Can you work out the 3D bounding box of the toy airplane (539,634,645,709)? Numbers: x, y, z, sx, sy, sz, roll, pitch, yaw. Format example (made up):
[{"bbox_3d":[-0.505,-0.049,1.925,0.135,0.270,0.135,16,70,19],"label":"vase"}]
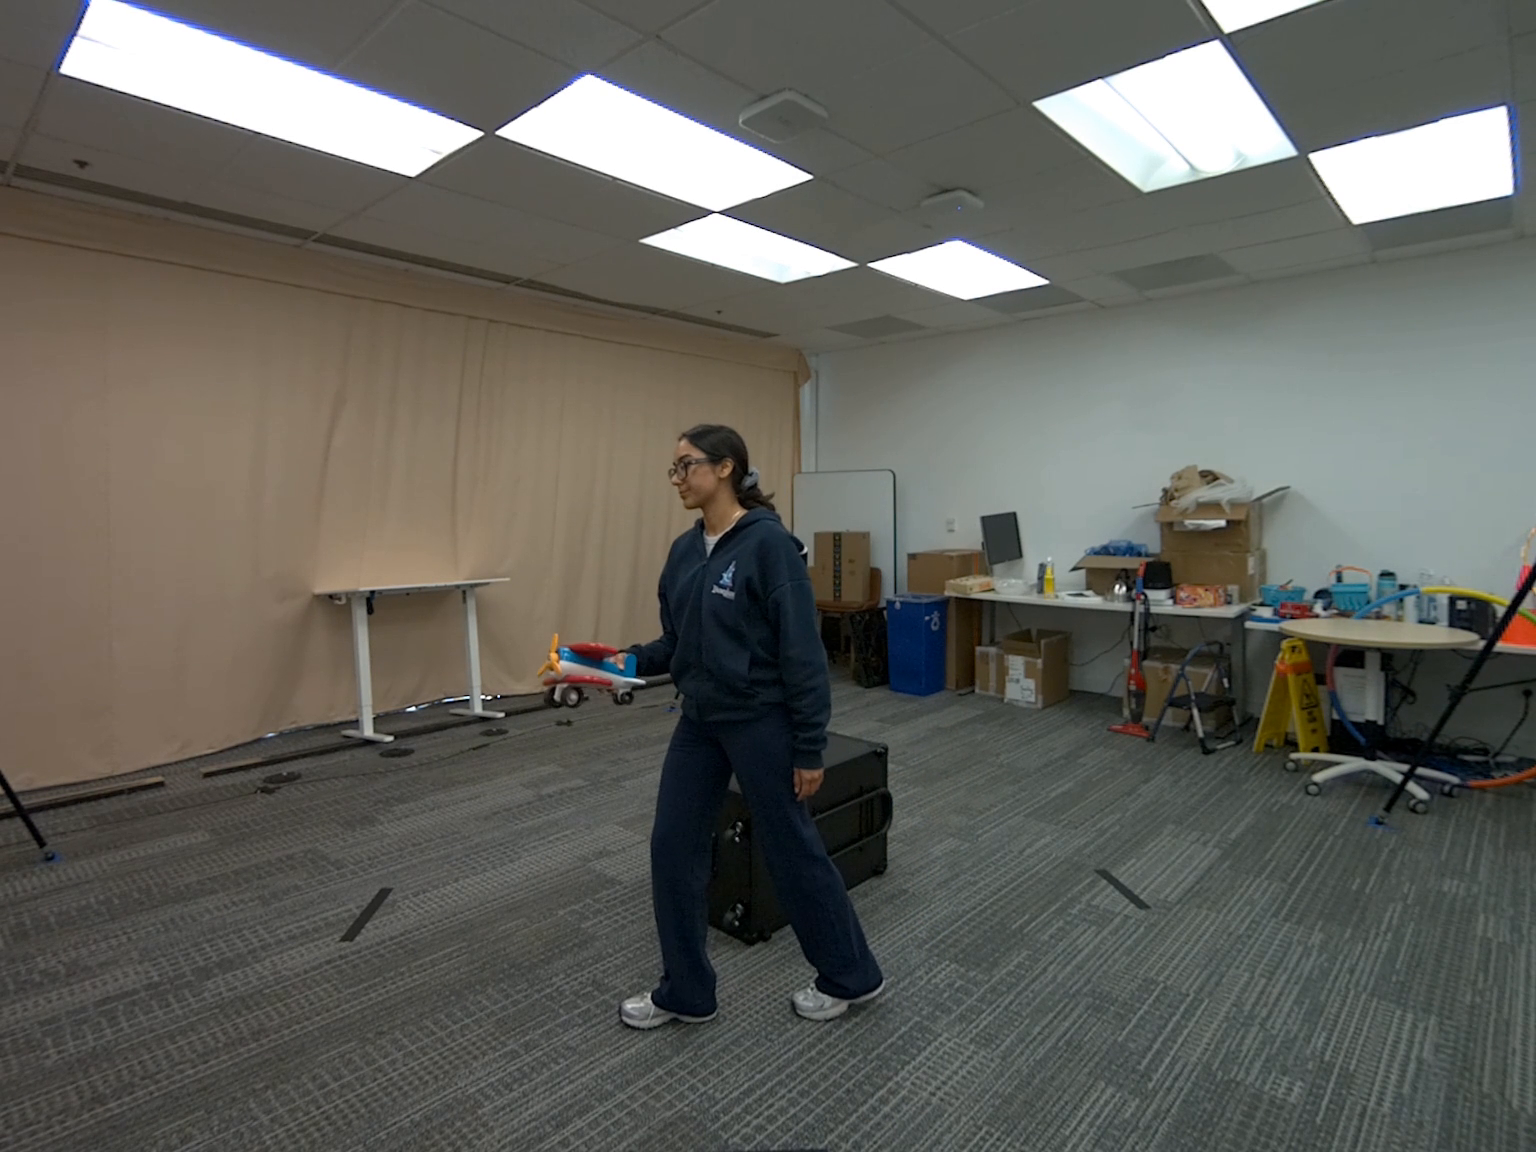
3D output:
[{"bbox_3d":[-0.451,0.255,2.134,0.256,0.157,0.253,-6,-8,19],"label":"toy airplane"}]
